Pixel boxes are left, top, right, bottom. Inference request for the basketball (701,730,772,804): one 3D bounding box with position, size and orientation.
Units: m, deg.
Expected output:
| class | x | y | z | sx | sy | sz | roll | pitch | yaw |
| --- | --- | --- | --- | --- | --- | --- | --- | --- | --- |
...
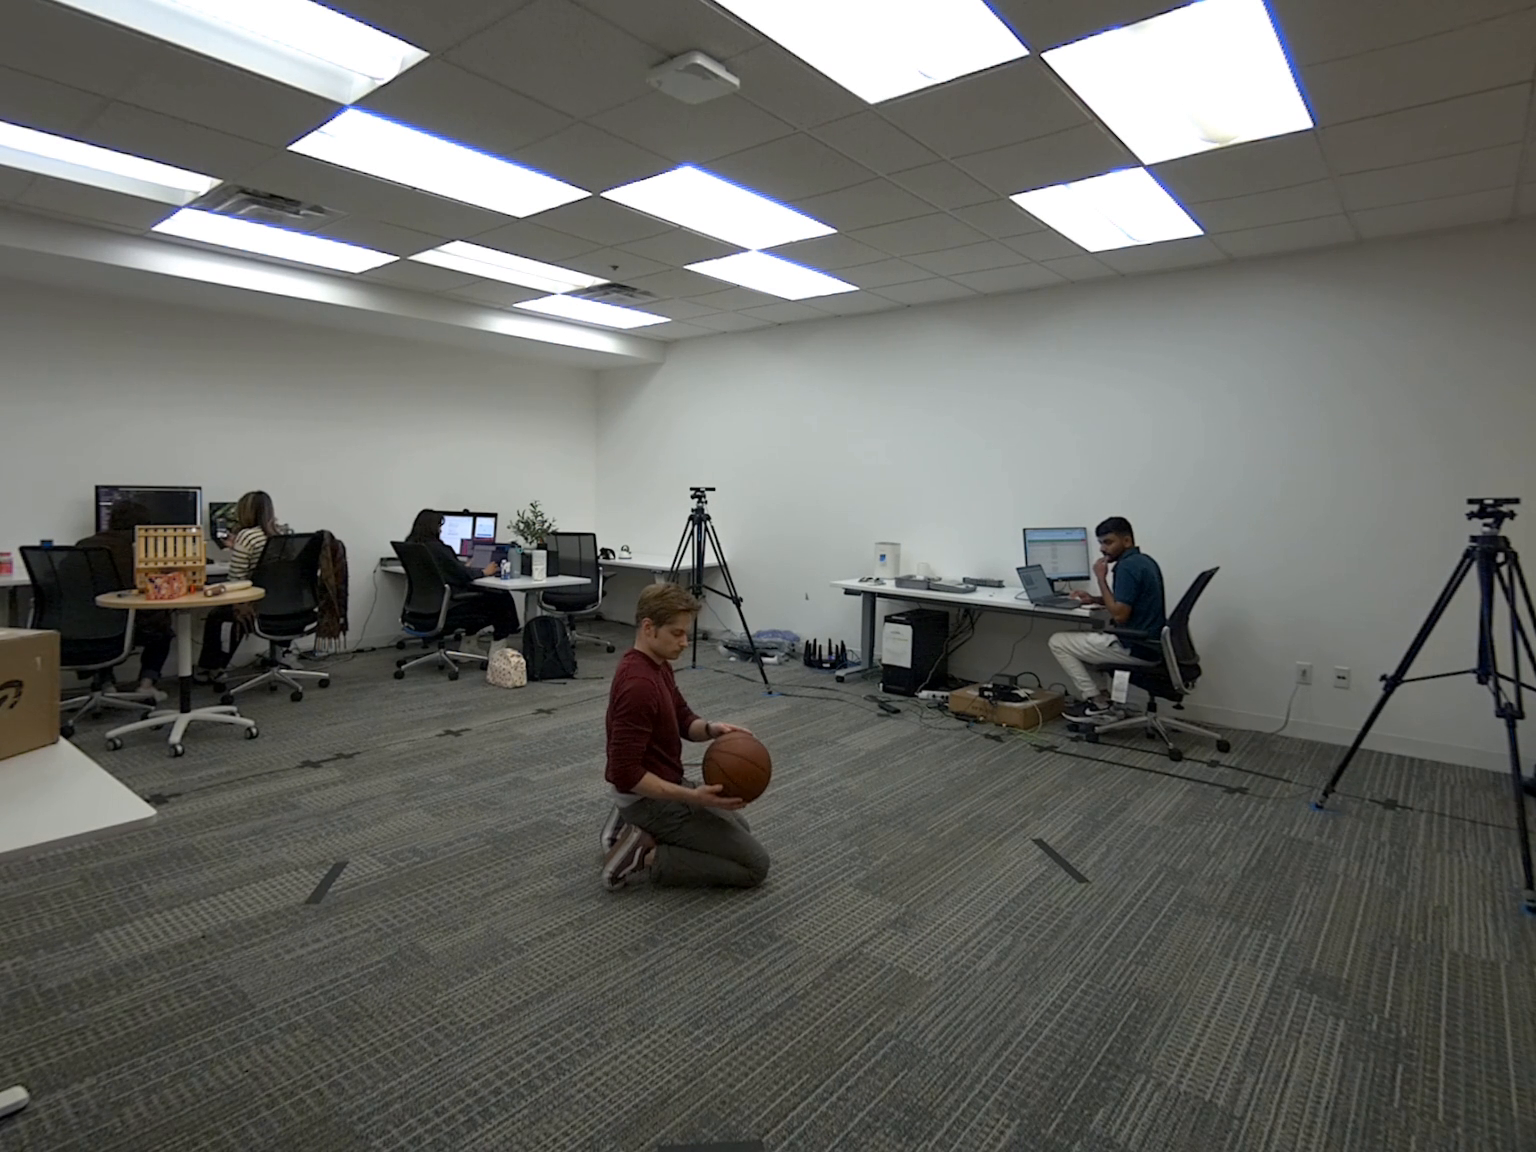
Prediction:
| class | x | y | z | sx | sy | sz | roll | pitch | yaw |
| --- | --- | --- | --- | --- | --- | --- | --- | --- | --- |
| basketball | -0.123 | 0.658 | 2.890 | 0.235 | 0.235 | 0.237 | 1 | 4 | -2 |
